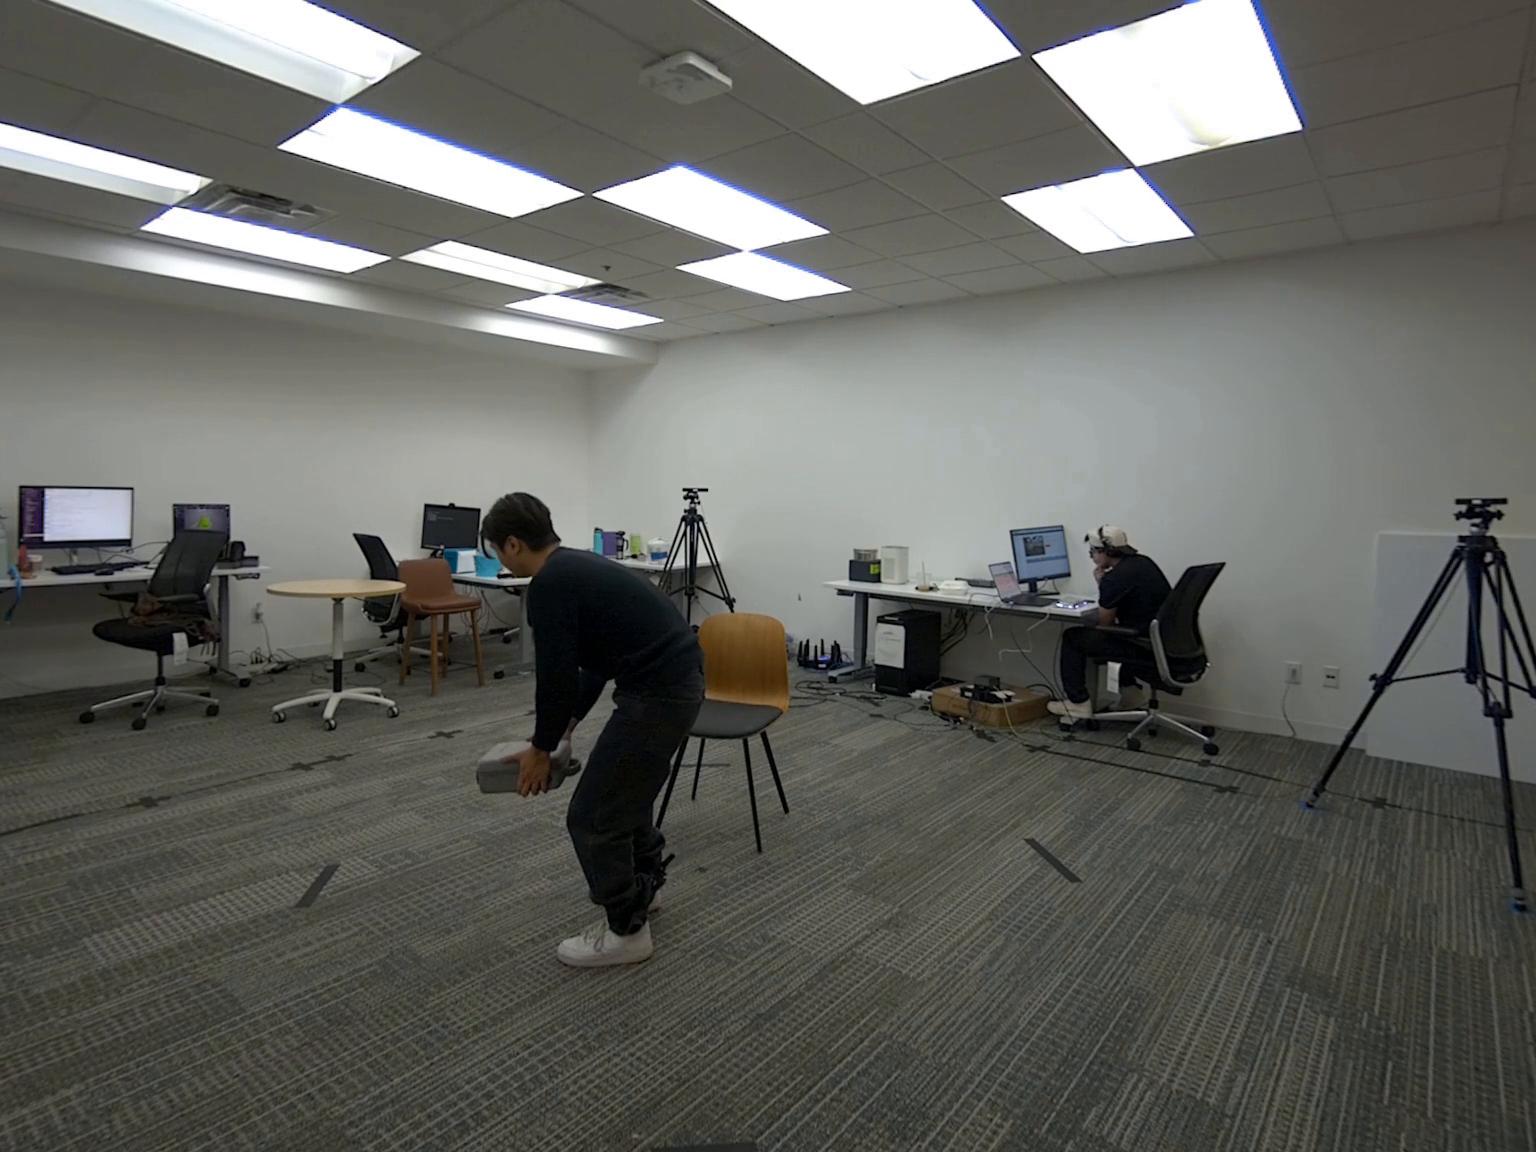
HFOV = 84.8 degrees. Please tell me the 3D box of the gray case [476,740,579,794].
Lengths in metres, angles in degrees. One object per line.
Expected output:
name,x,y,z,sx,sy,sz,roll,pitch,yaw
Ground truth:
gray case,-0.759,0.590,2.647,0.260,0.104,0.257,-3,1,-2
